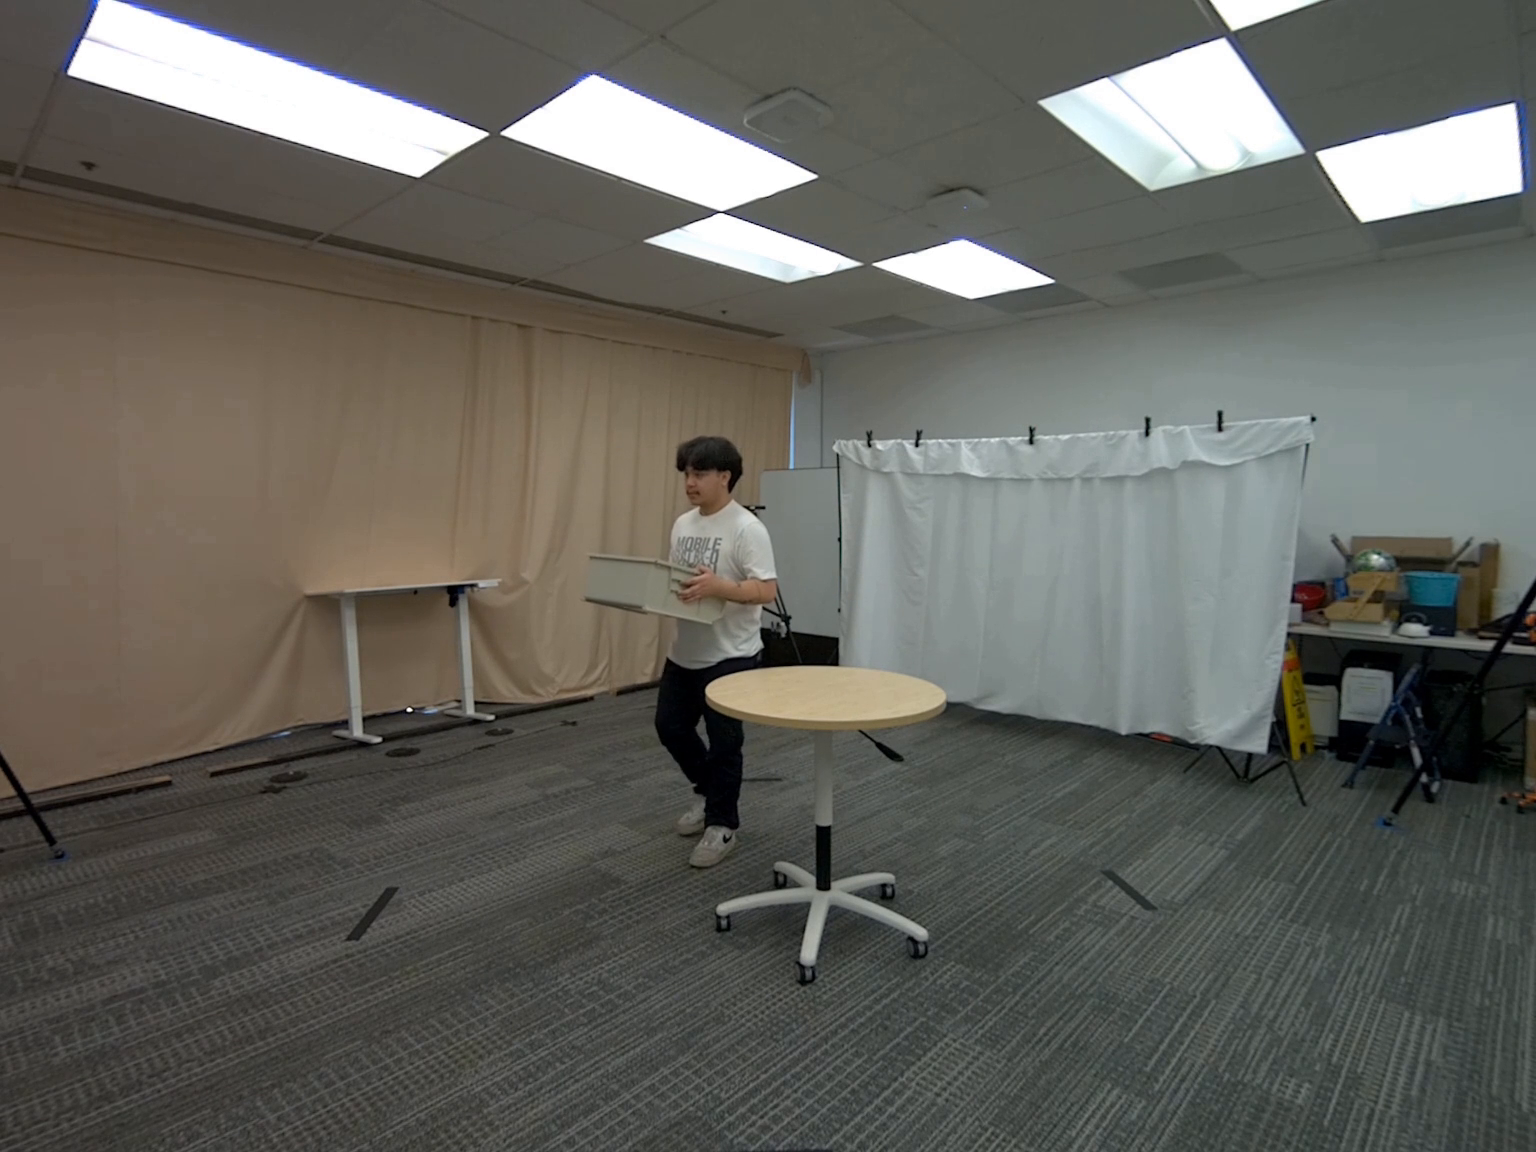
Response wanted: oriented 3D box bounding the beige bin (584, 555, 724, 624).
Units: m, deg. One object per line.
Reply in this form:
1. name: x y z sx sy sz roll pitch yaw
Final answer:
1. beige bin: -0.431 0.051 3.156 0.364 0.189 0.437 13 -4 -43
